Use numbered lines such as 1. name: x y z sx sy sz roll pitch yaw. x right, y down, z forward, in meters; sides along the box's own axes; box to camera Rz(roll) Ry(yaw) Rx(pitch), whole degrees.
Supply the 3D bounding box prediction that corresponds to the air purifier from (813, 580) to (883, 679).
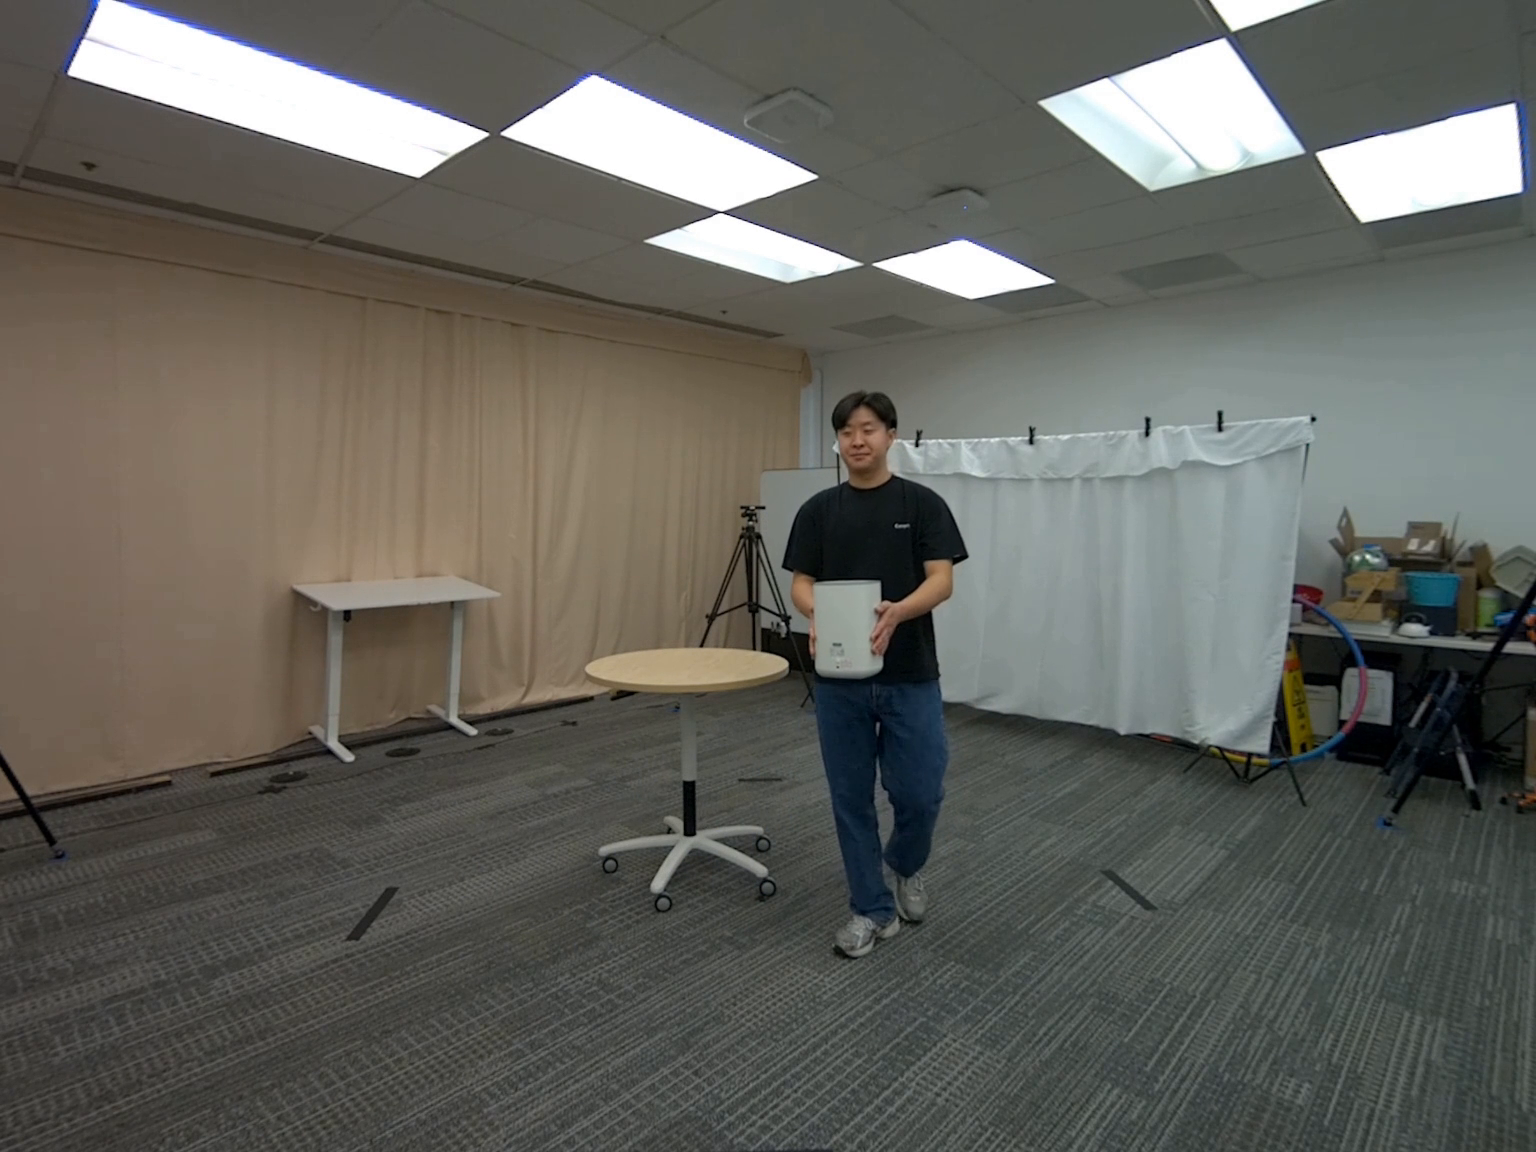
1. air purifier: 0.230 0.149 2.389 0.175 0.265 0.167 -3 -1 24
